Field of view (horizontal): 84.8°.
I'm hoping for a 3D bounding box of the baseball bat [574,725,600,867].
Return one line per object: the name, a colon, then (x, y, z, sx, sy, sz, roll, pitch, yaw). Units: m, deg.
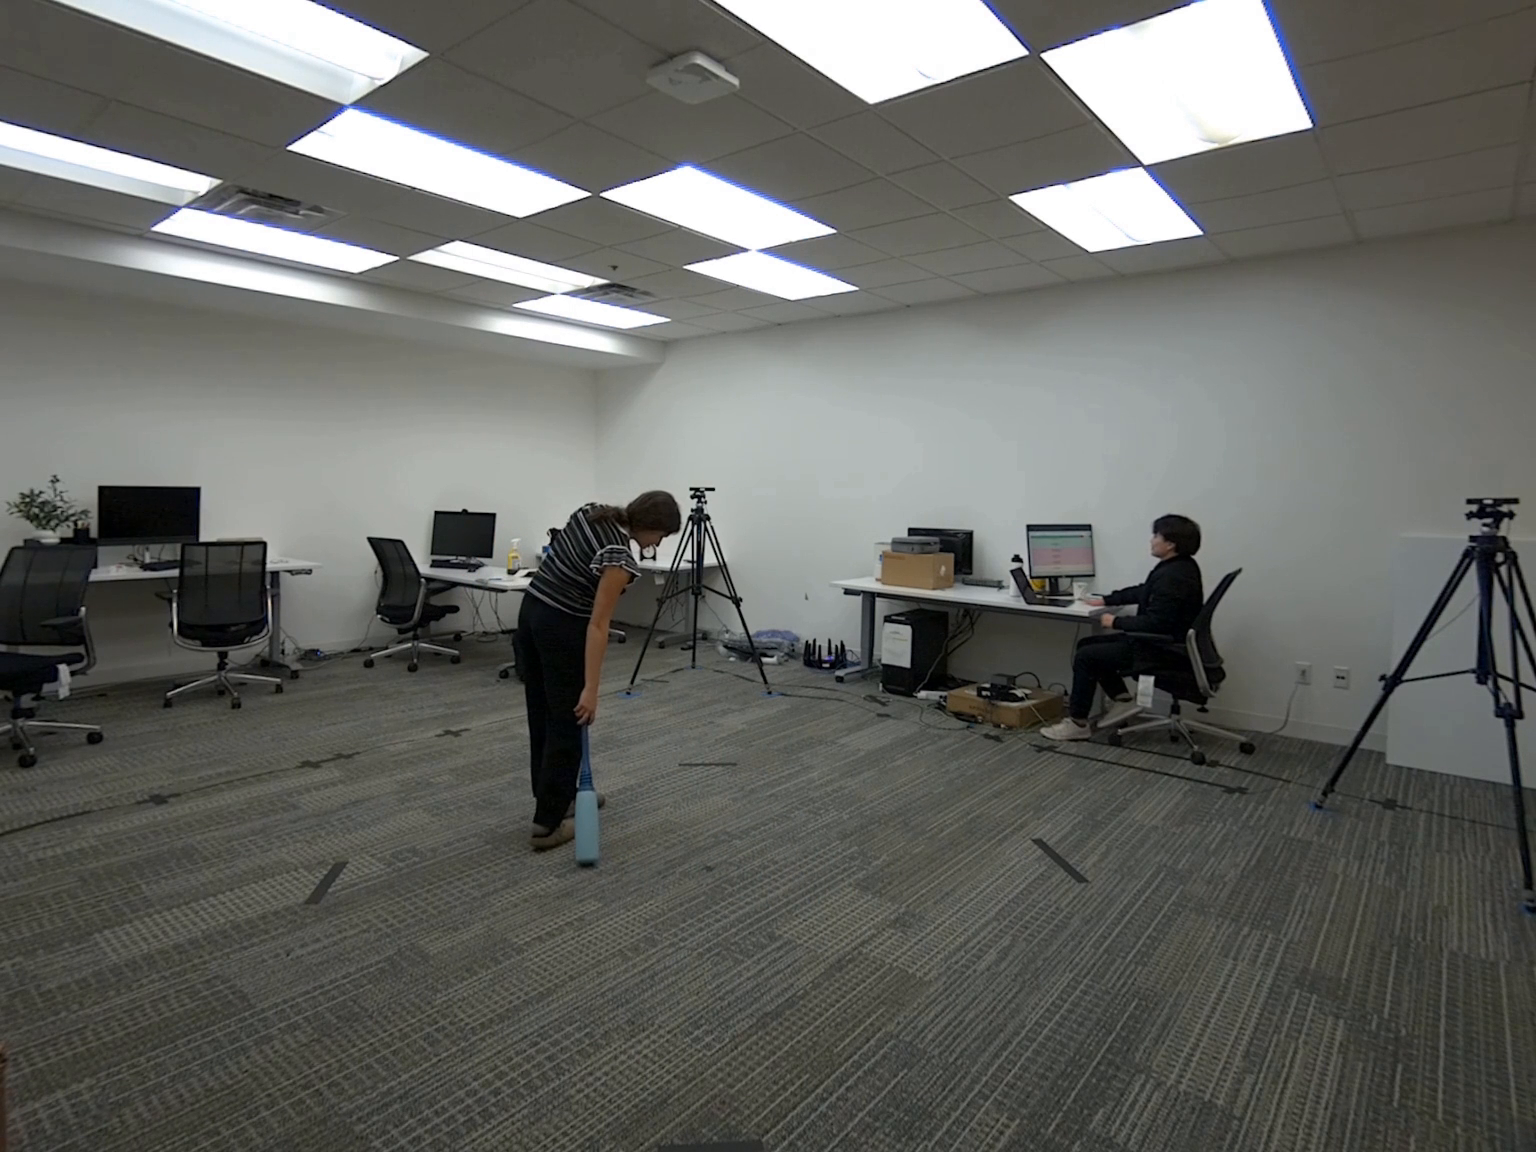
baseball bat: (-0.707, 0.803, 3.227, 0.089, 0.557, 0.087, -6, -26, -5)
